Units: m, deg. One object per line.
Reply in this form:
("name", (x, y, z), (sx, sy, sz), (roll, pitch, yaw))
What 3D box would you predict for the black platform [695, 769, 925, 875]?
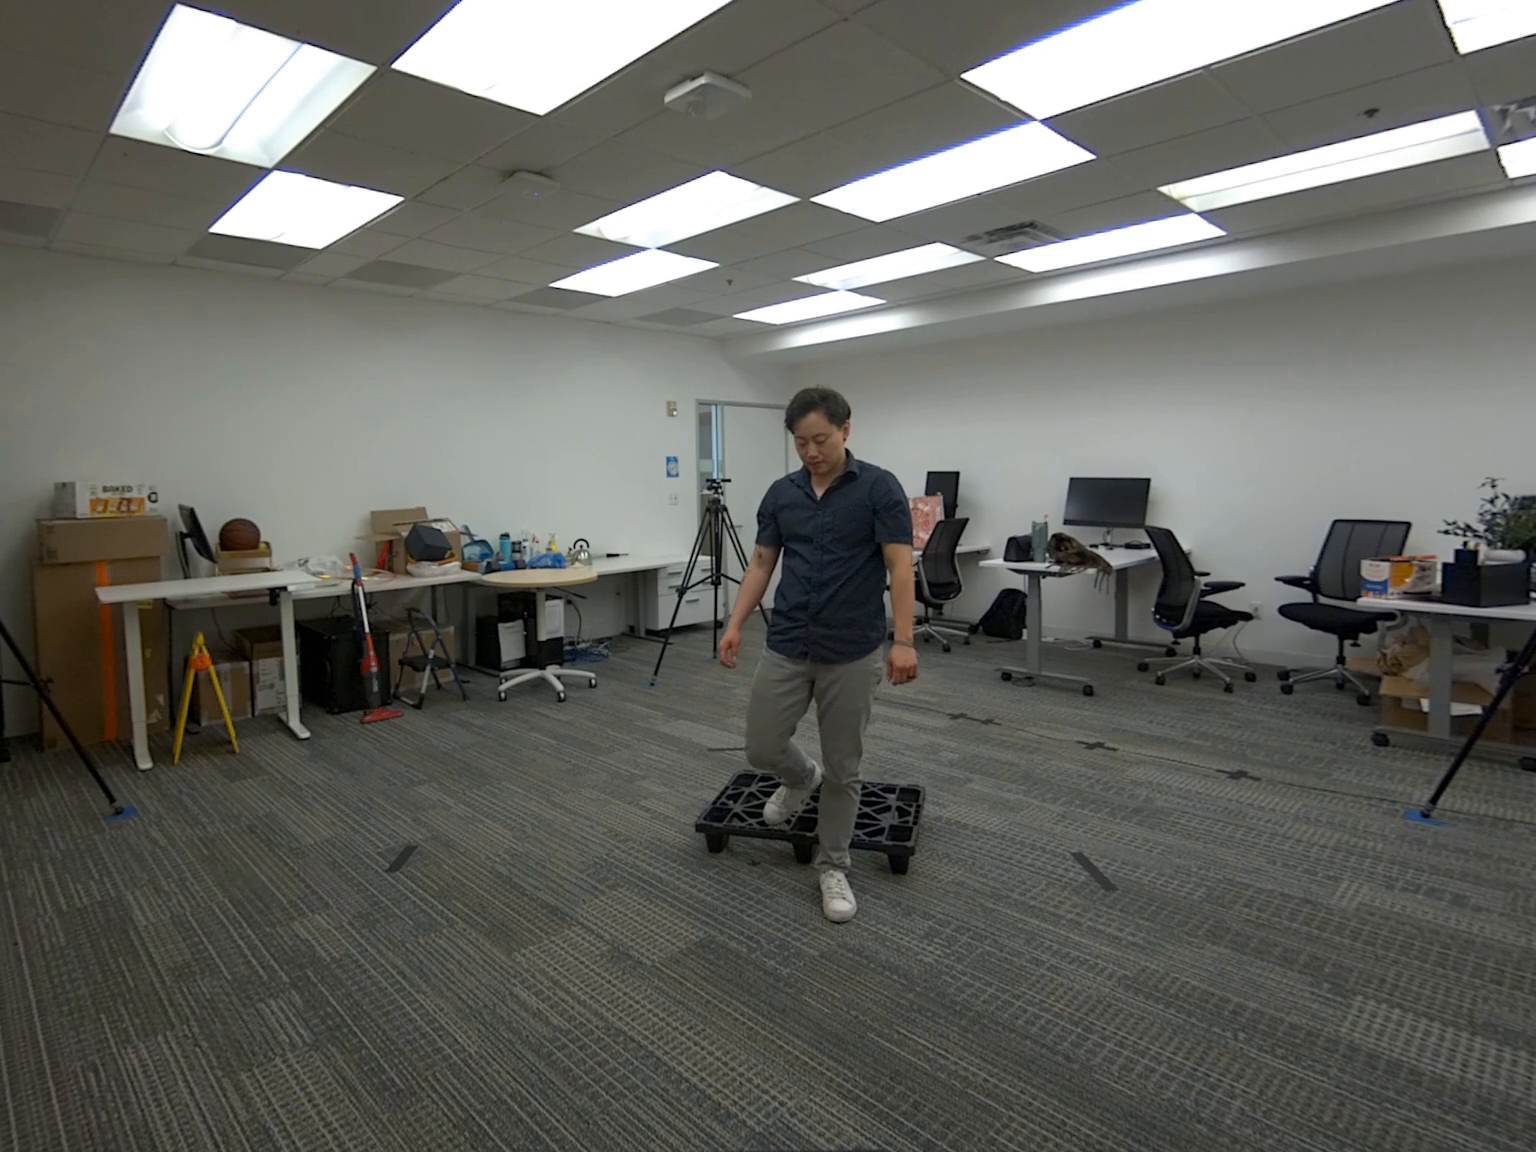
("black platform", (0.183, 0.949, 3.325), (0.818, 0.143, 0.598), (1, 6, 16))
